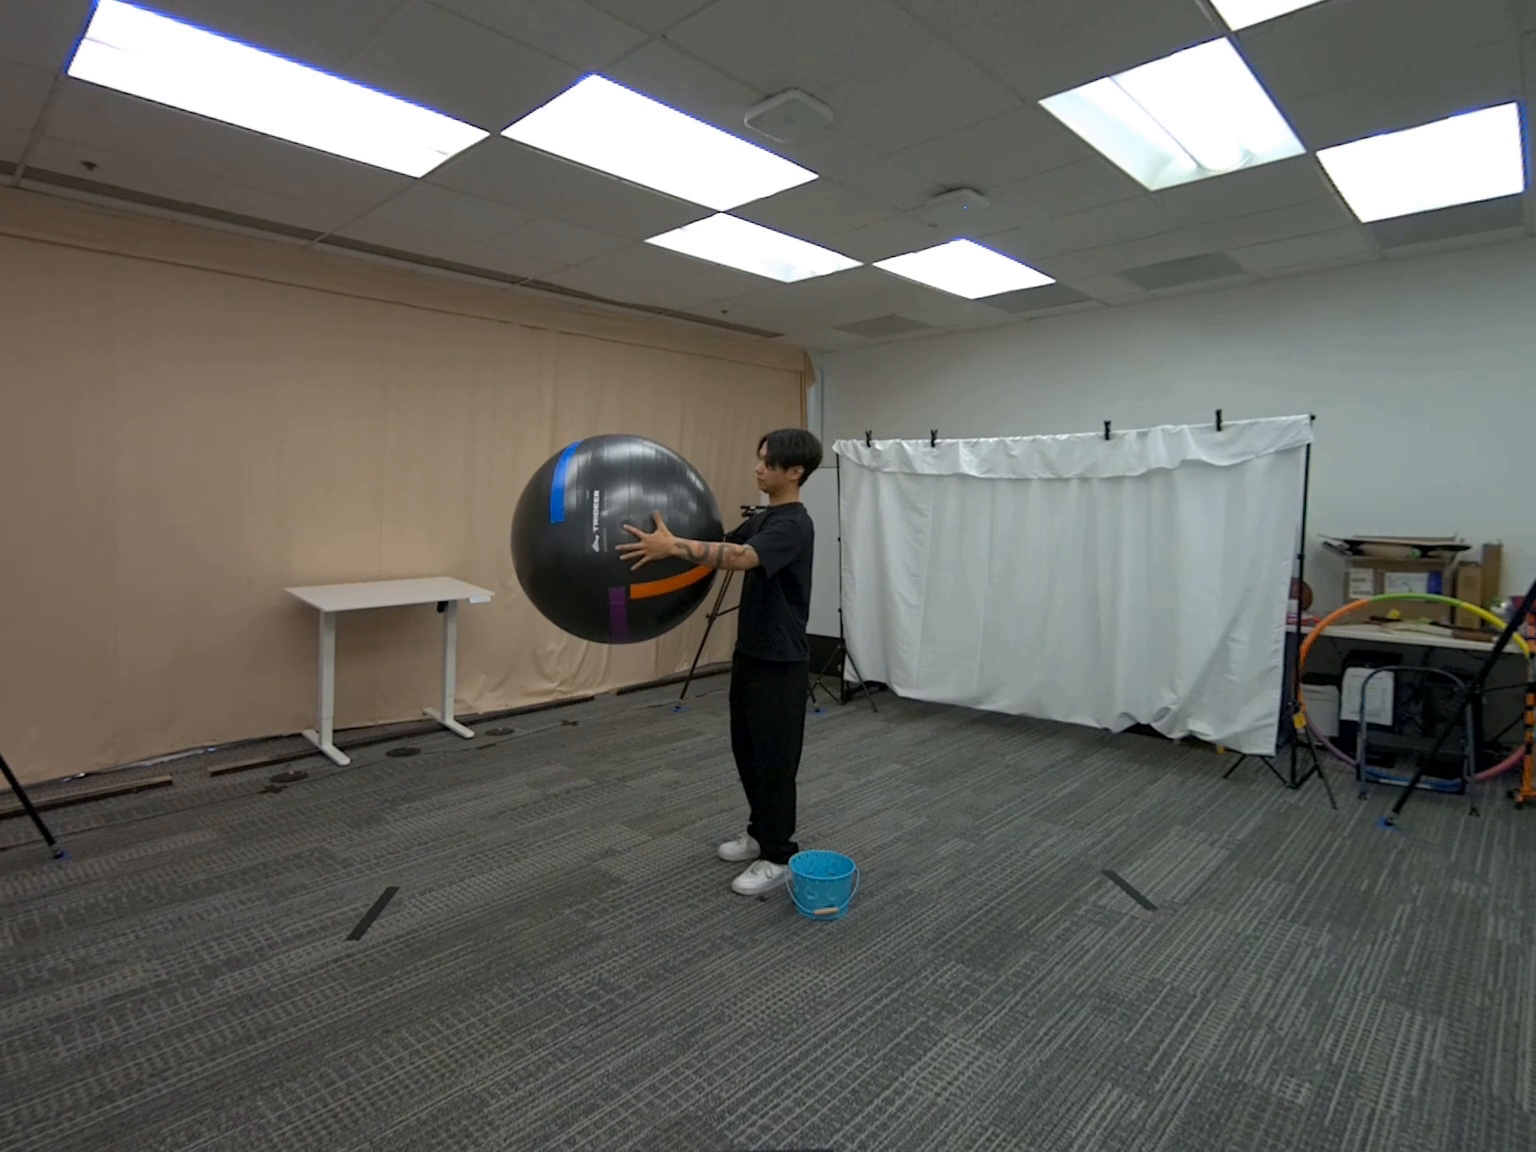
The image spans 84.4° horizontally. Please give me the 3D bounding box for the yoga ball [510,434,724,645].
[{"bbox_3d":[-0.550,-0.129,3.053,0.757,0.756,0.761,0,4,-2],"label":"yoga ball"}]
